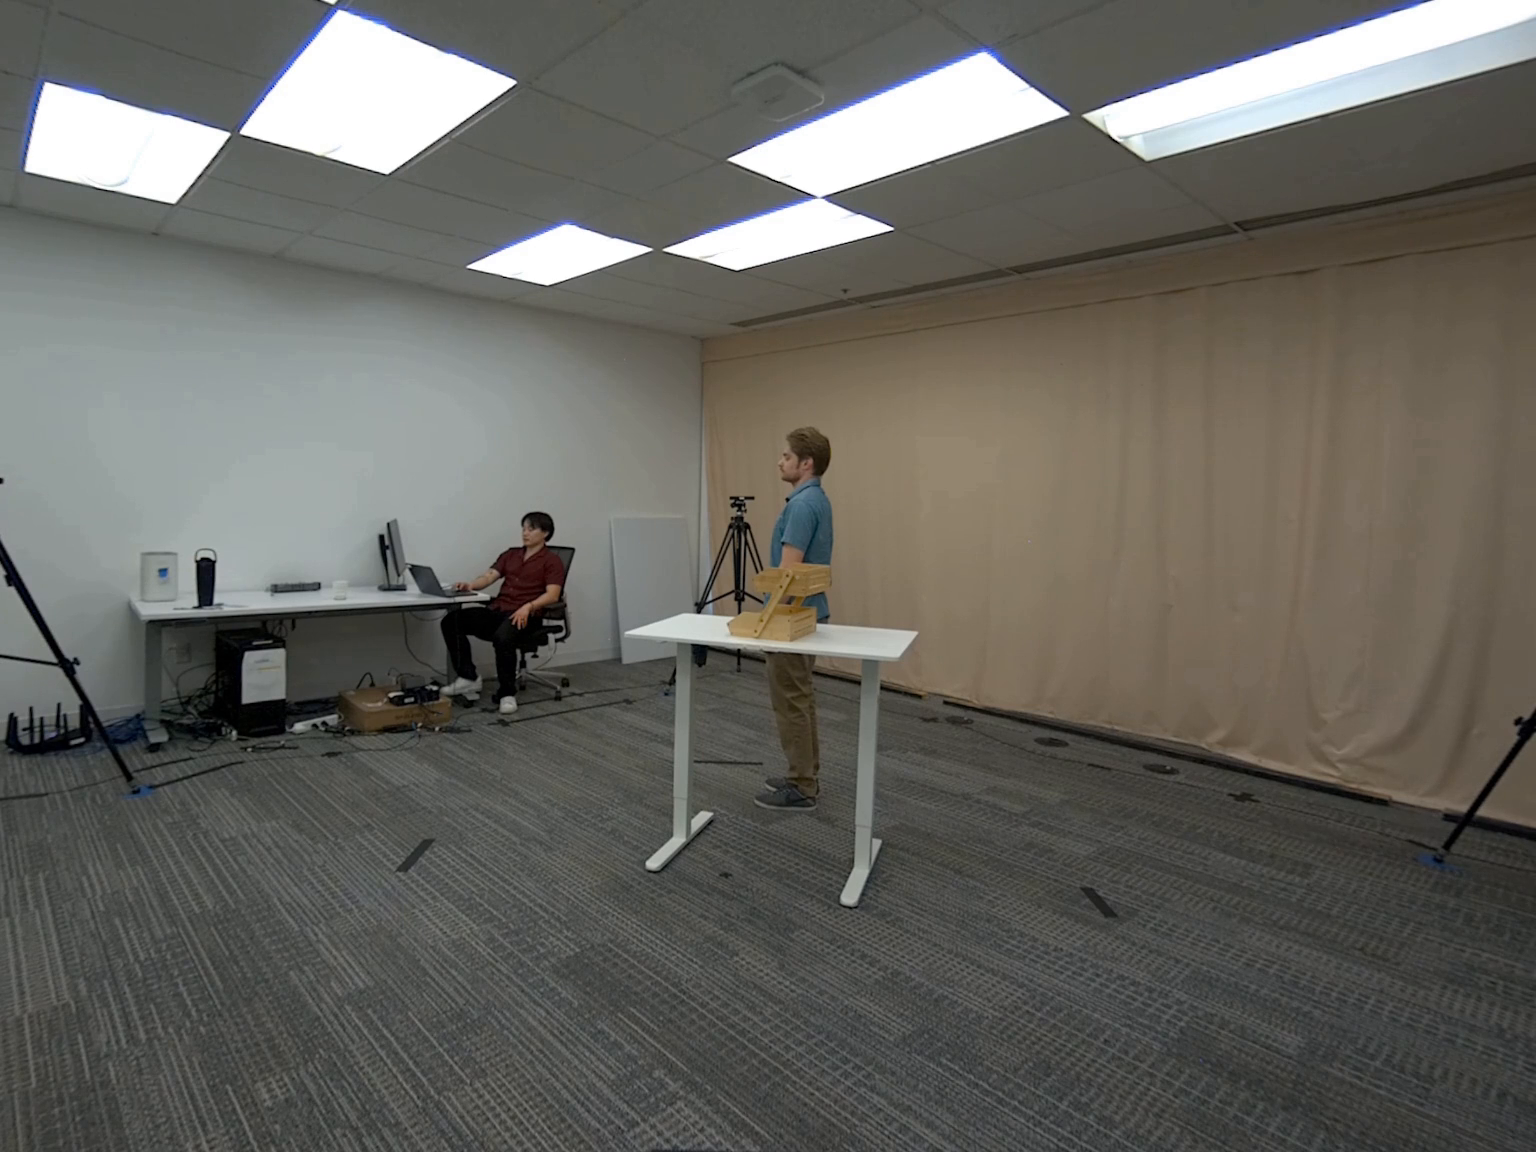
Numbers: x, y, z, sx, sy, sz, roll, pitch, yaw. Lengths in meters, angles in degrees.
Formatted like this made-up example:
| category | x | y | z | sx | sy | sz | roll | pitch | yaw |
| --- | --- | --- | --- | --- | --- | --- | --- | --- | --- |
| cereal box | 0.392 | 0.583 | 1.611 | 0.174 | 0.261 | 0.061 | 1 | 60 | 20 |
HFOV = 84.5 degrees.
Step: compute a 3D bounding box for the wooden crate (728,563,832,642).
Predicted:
| category | x | y | z | sx | sy | sz | roll | pitch | yaw |
| --- | --- | --- | --- | --- | --- | --- | --- | --- | --- |
| wooden crate | 0.034 | 0.085 | 3.179 | 0.307 | 0.272 | 0.319 | 4 | 5 | 23 |
